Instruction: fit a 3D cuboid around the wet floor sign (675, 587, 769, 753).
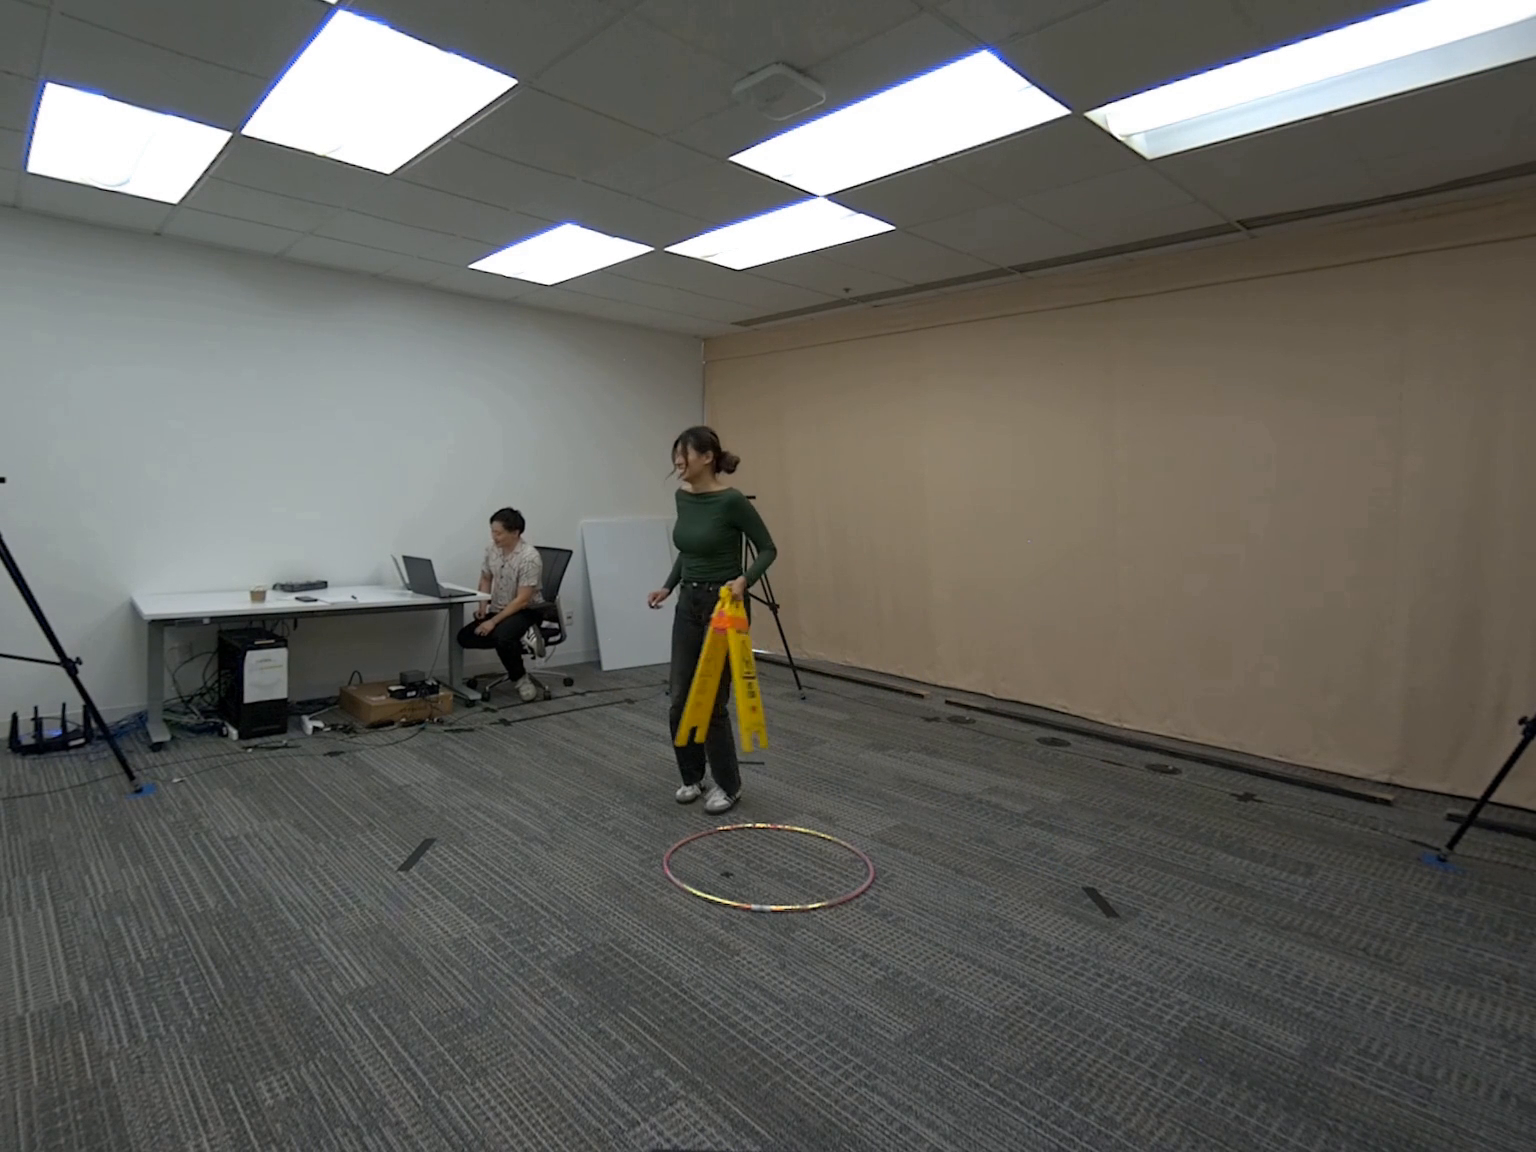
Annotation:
[{"bbox_3d":[-0.171,0.363,3.454,0.294,0.650,0.276,0,-9,19],"label":"wet floor sign"}]
